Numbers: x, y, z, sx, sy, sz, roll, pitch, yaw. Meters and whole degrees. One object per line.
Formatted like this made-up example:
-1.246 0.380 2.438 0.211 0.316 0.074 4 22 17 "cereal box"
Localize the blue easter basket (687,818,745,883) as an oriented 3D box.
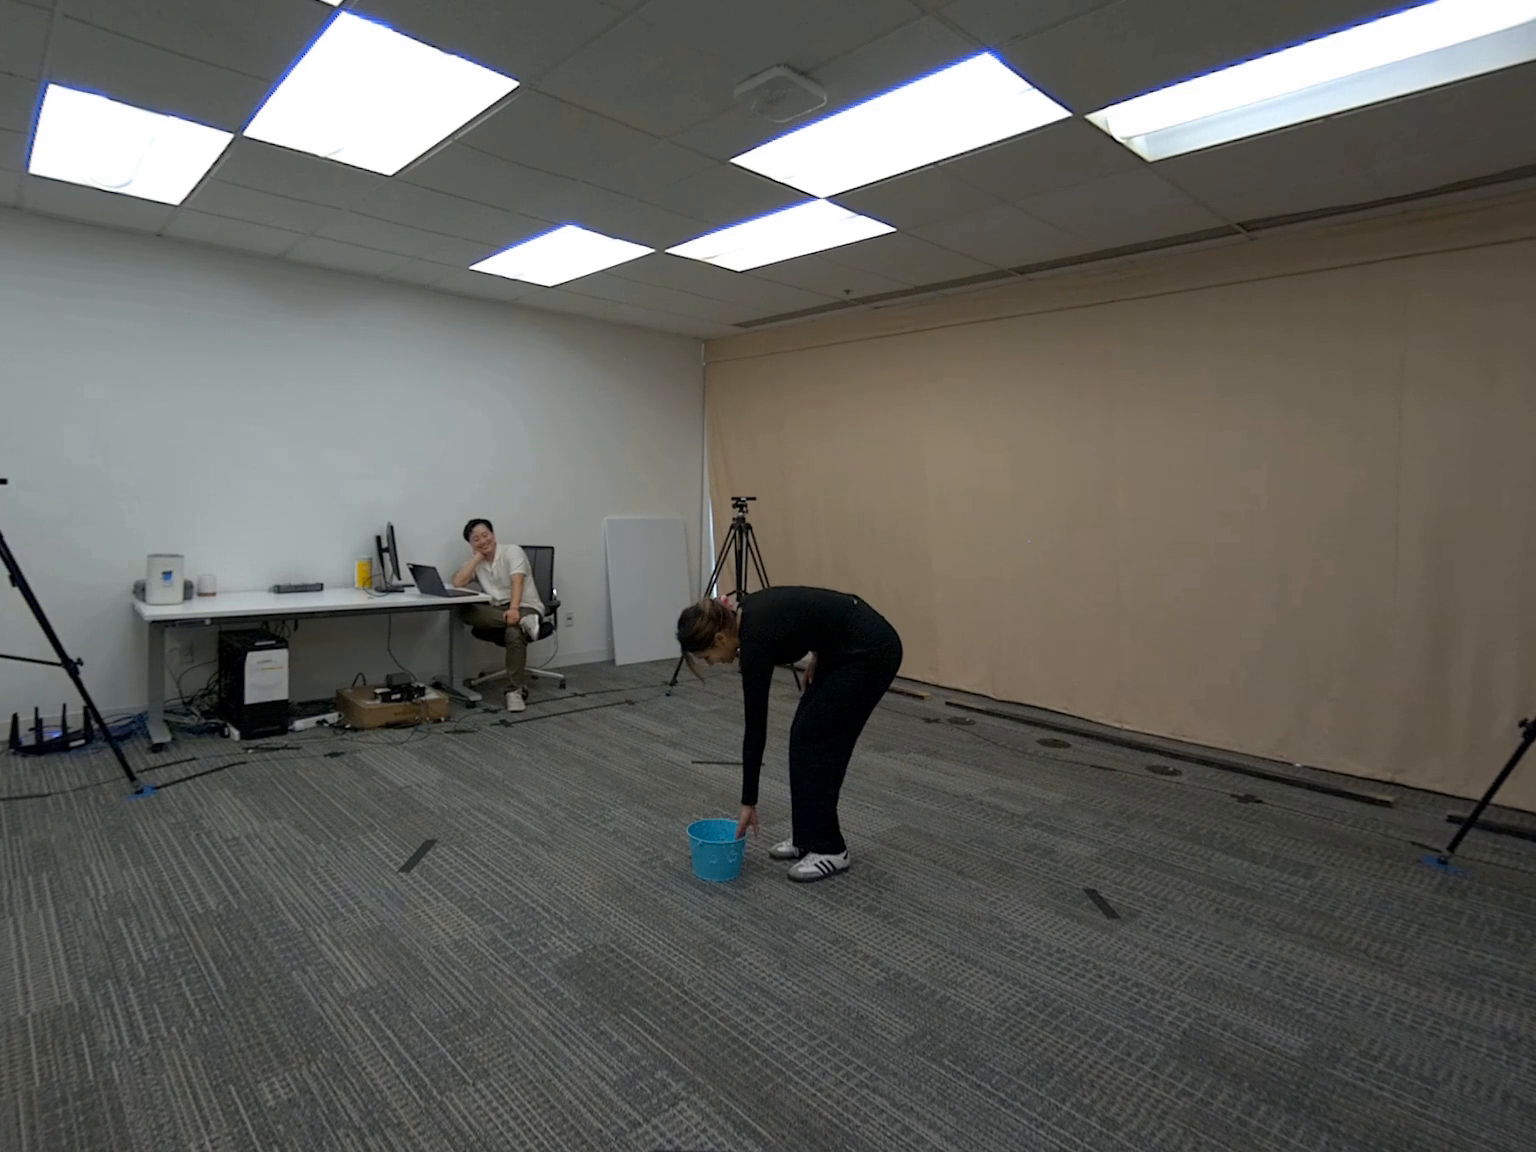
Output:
-0.195 1.022 3.151 0.243 0.155 0.244 2 4 -1 "blue easter basket"
